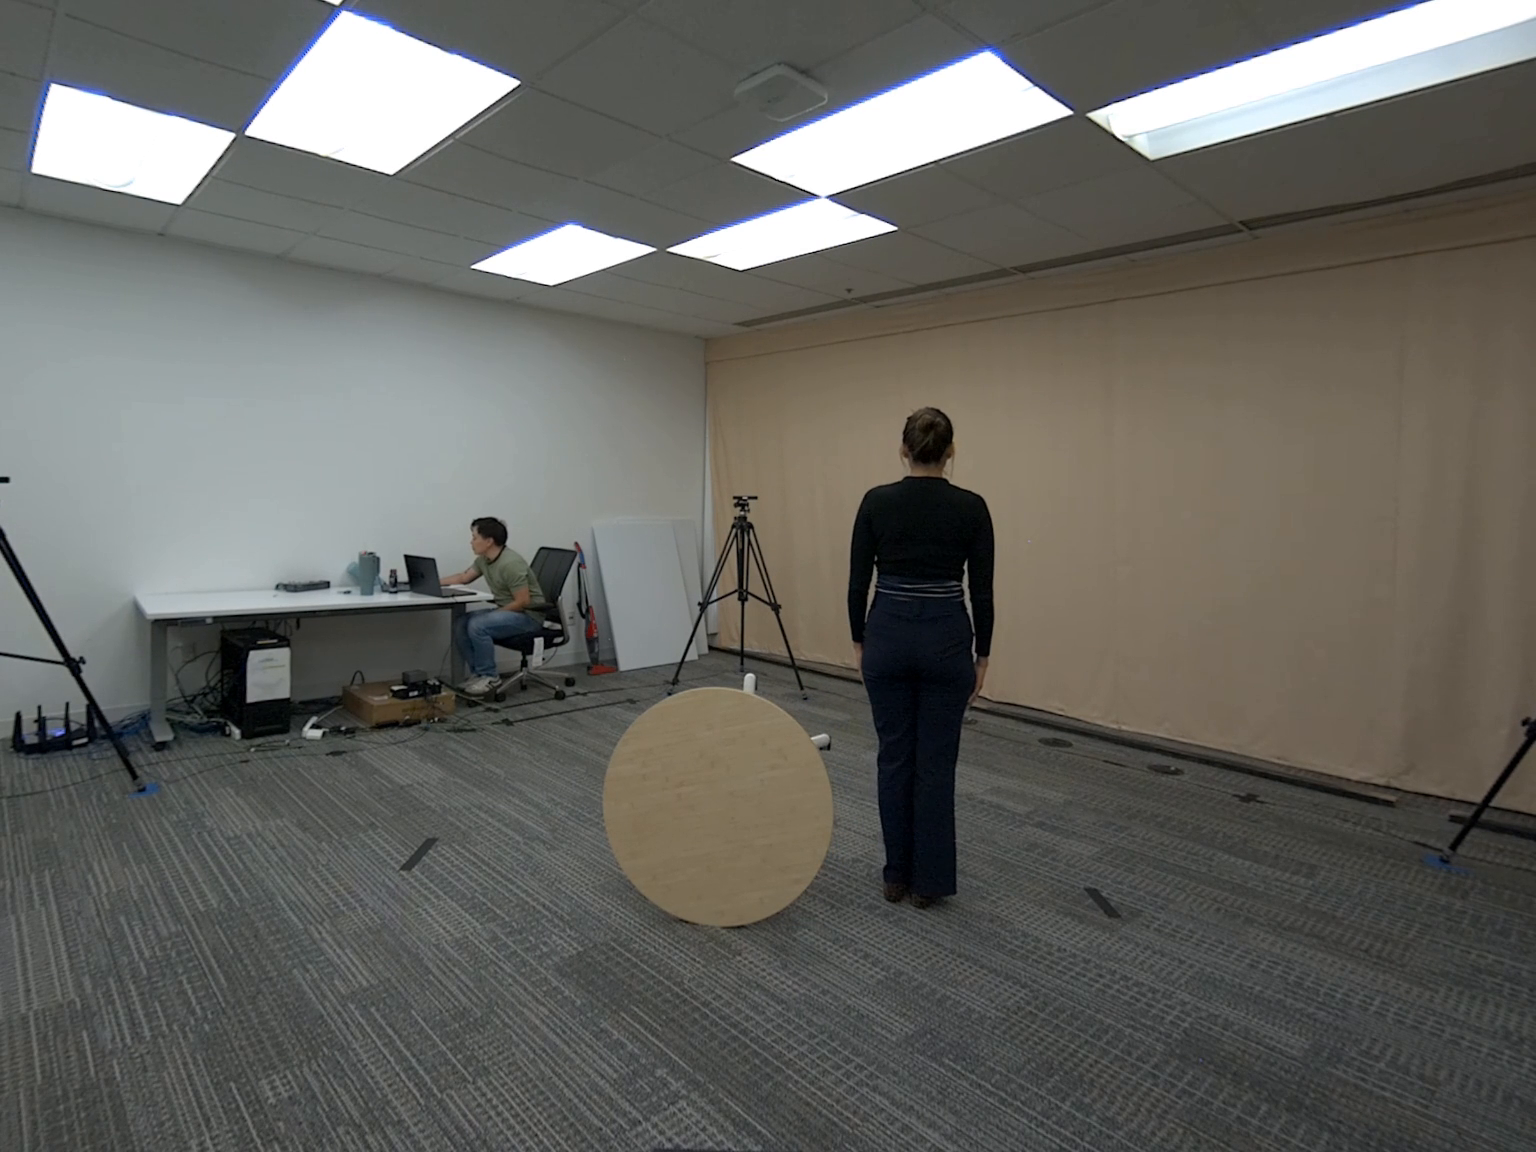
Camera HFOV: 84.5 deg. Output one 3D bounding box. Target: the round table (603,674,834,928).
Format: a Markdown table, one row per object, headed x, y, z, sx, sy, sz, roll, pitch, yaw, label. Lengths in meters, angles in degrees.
| x | y | z | sx | sy | sz | roll | pitch | yaw | label |
| --- | --- | --- | --- | --- | --- | --- | --- | --- | --- |
| -0.132 | 0.762 | 3.132 | 0.769 | 0.764 | 0.788 | 2 | 0 | 7 | round table |
